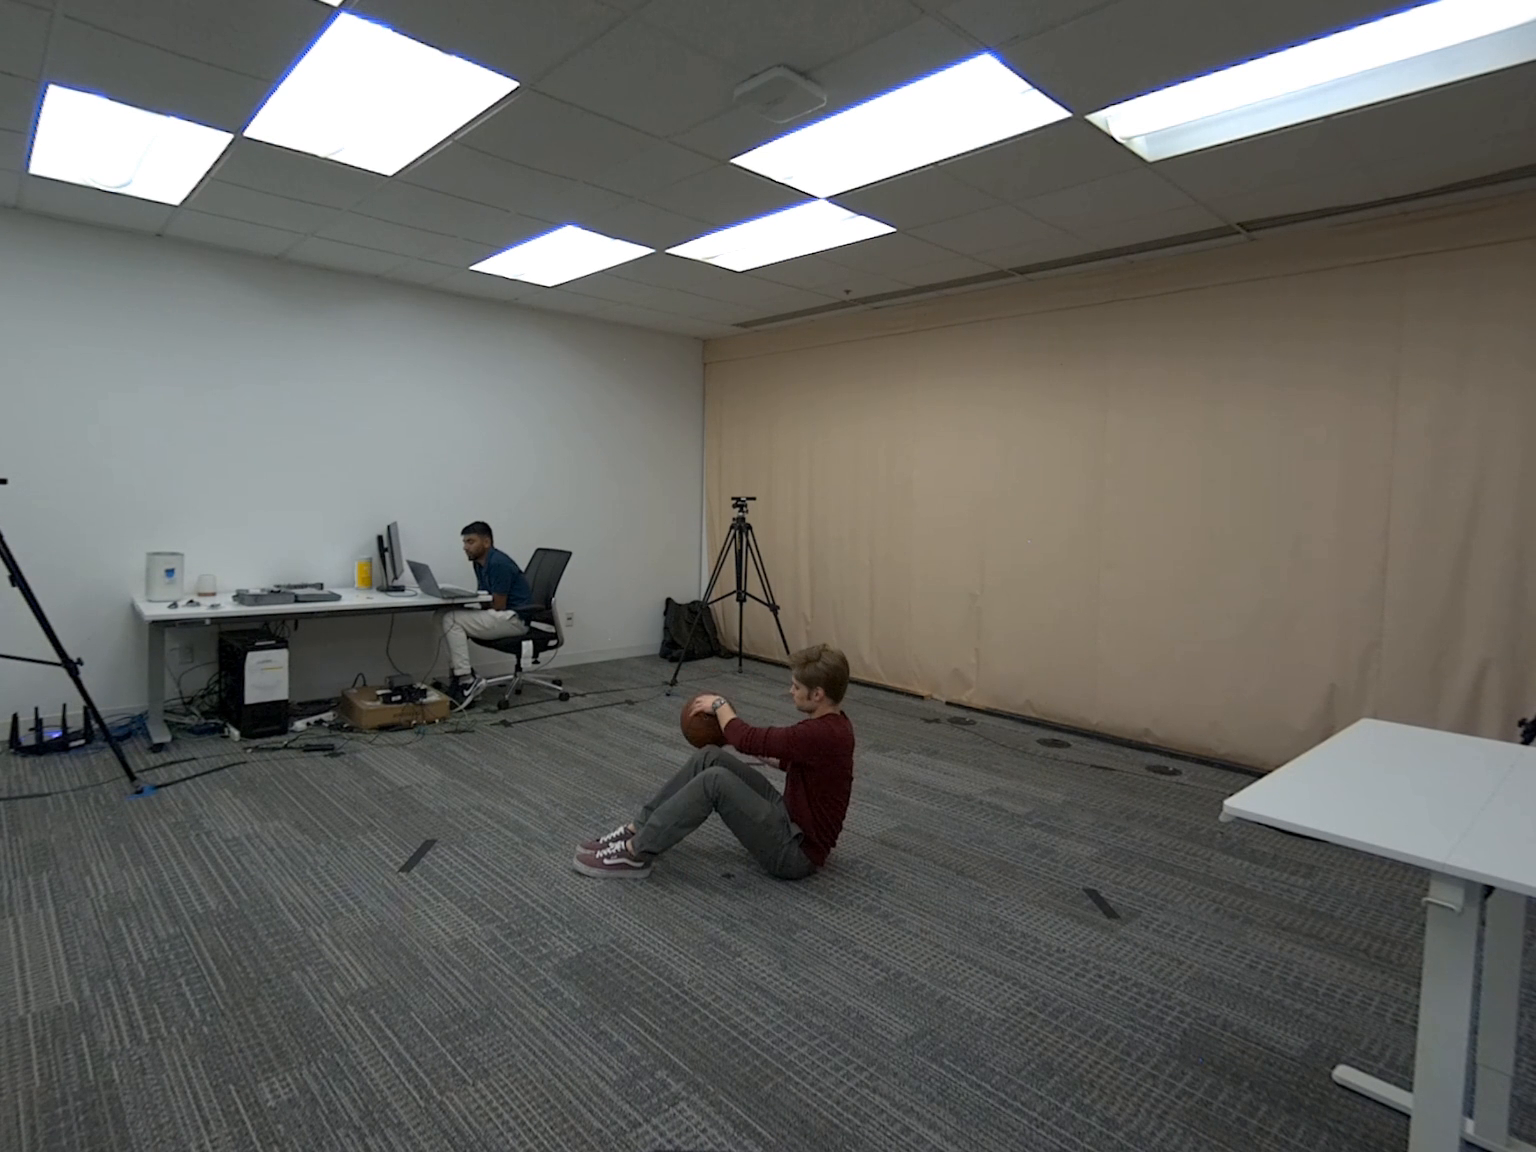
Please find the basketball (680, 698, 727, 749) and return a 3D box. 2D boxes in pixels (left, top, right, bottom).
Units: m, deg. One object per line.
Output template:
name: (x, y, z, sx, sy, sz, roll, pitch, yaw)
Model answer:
basketball: (-0.244, 0.608, 3.462, 0.236, 0.235, 0.237, 1, 4, -1)
